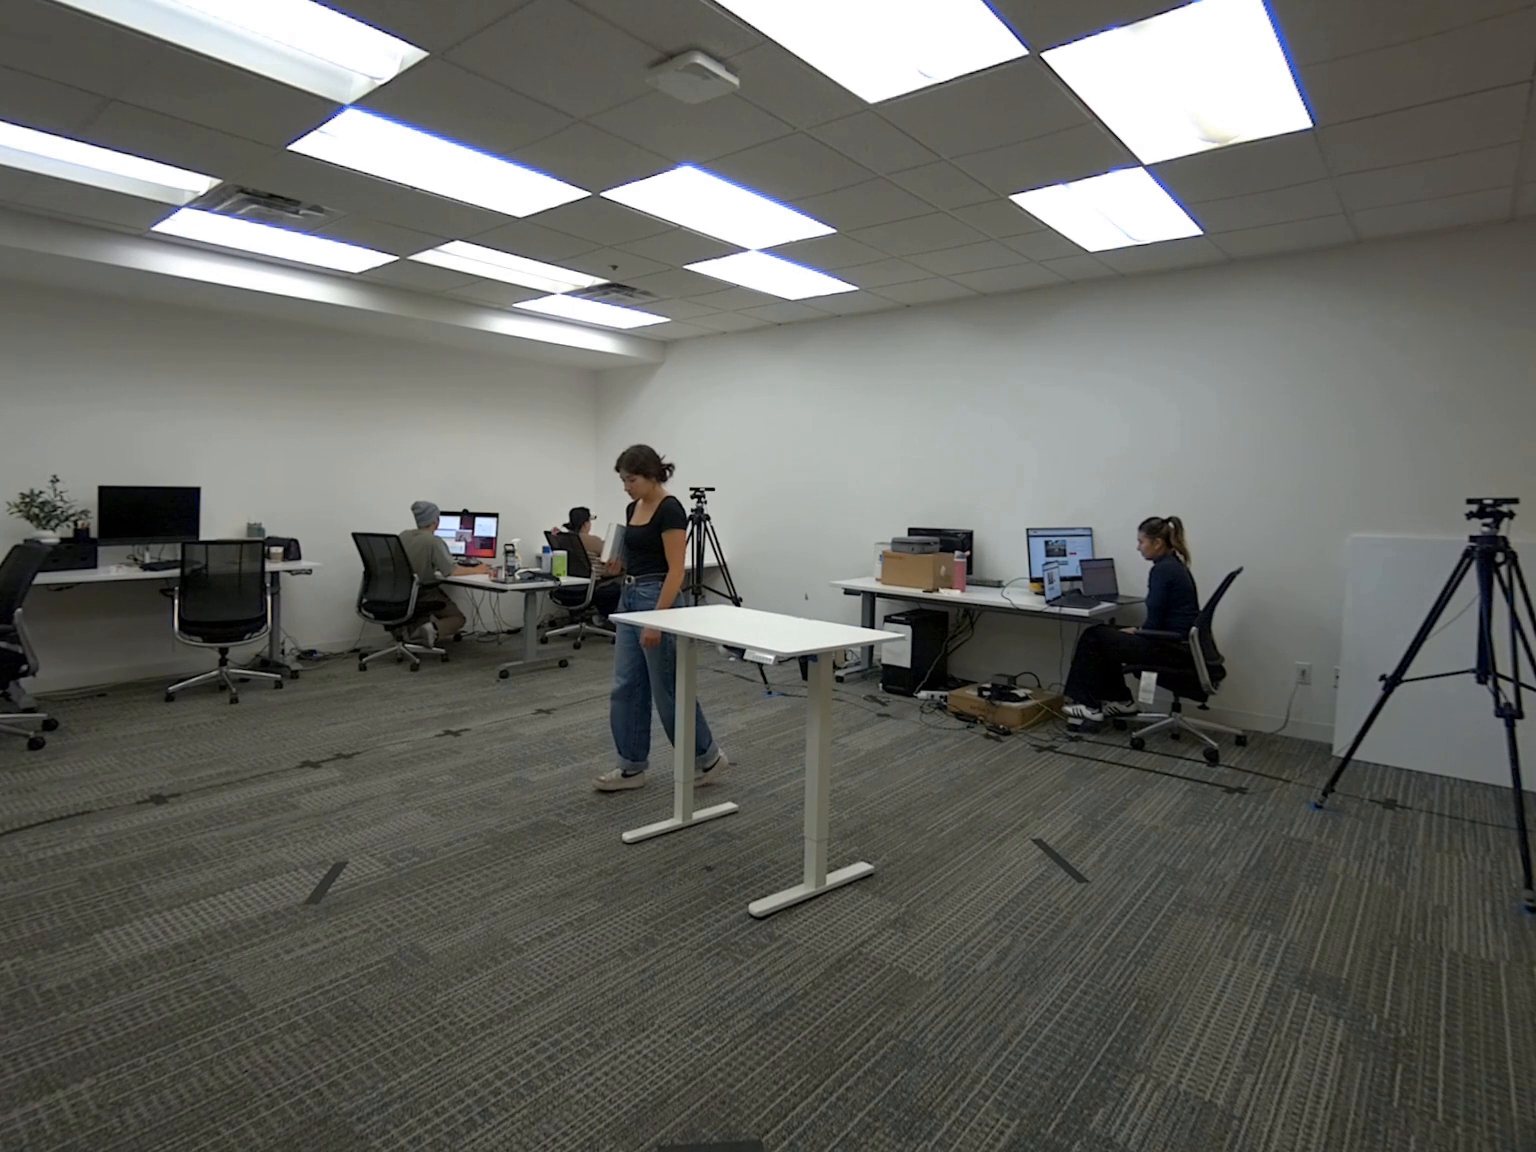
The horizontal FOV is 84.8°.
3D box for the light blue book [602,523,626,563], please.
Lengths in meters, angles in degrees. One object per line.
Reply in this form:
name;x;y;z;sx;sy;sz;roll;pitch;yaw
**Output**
light blue book;-0.661;-0.132;4.009;0.061;0.192;0.250;9;-9;41
